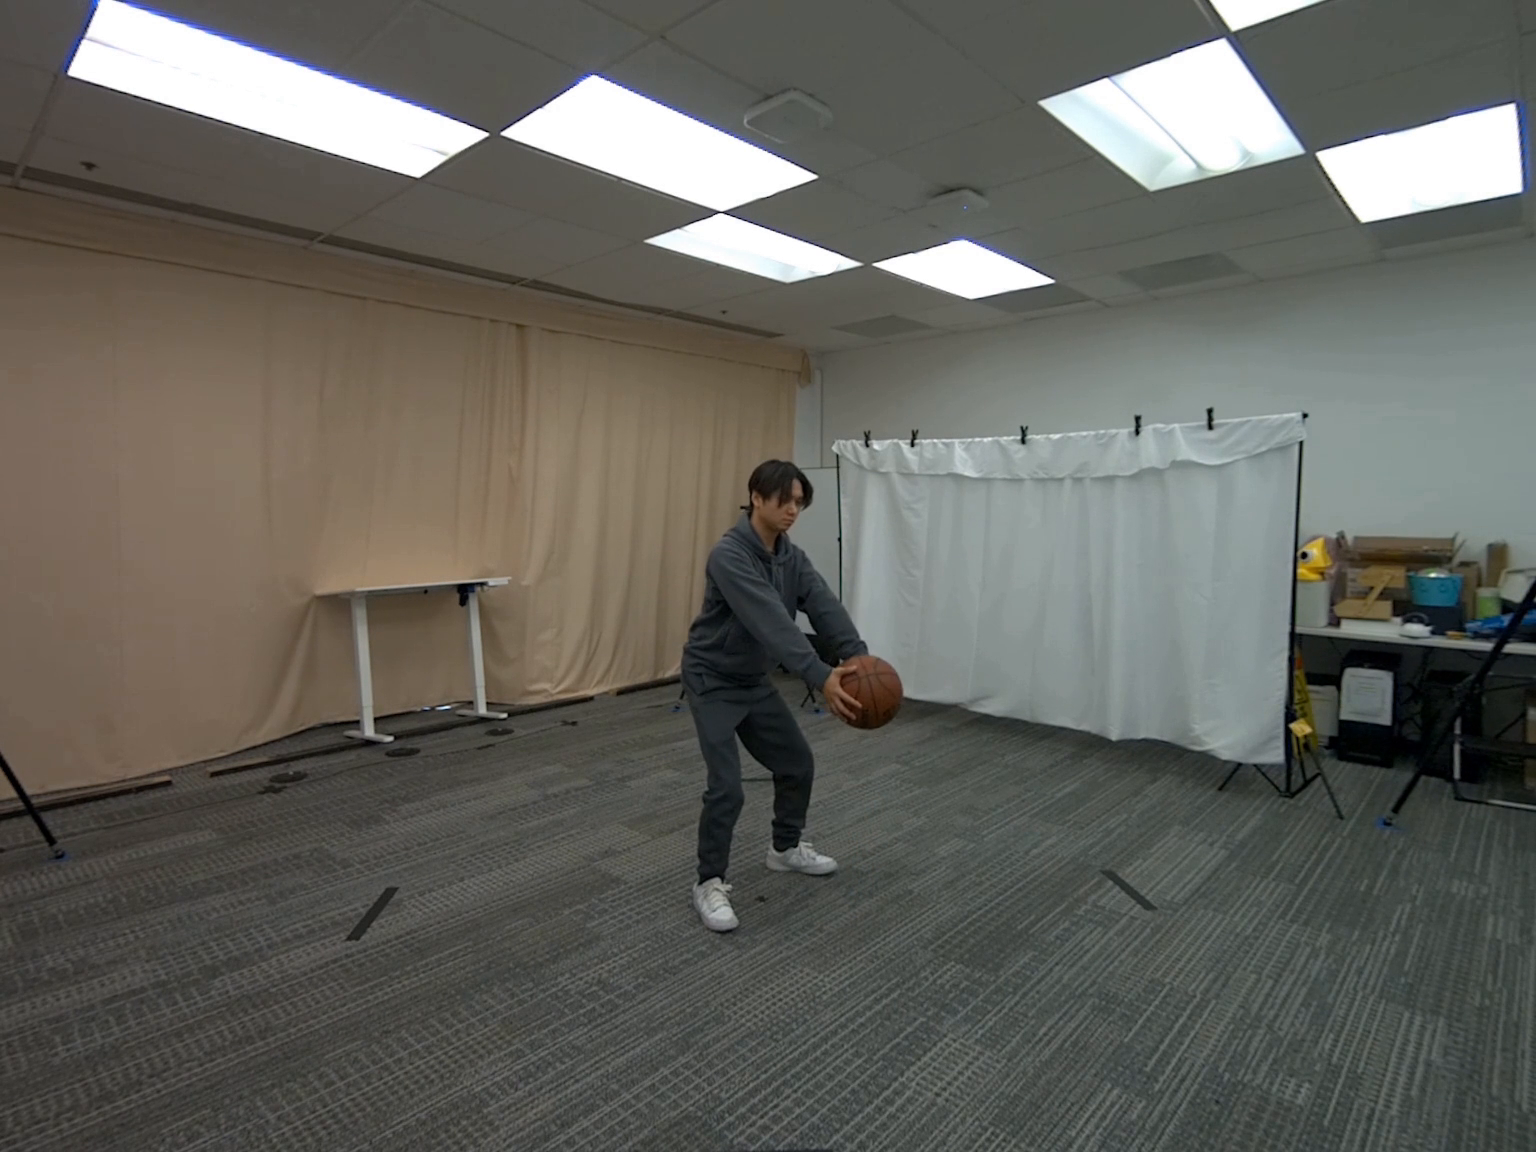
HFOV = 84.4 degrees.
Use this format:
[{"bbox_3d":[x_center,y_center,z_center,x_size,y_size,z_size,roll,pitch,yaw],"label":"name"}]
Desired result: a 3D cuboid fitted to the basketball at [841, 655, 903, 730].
[{"bbox_3d":[0.312,0.381,2.719,0.236,0.235,0.237,0,4,-2],"label":"basketball"}]
